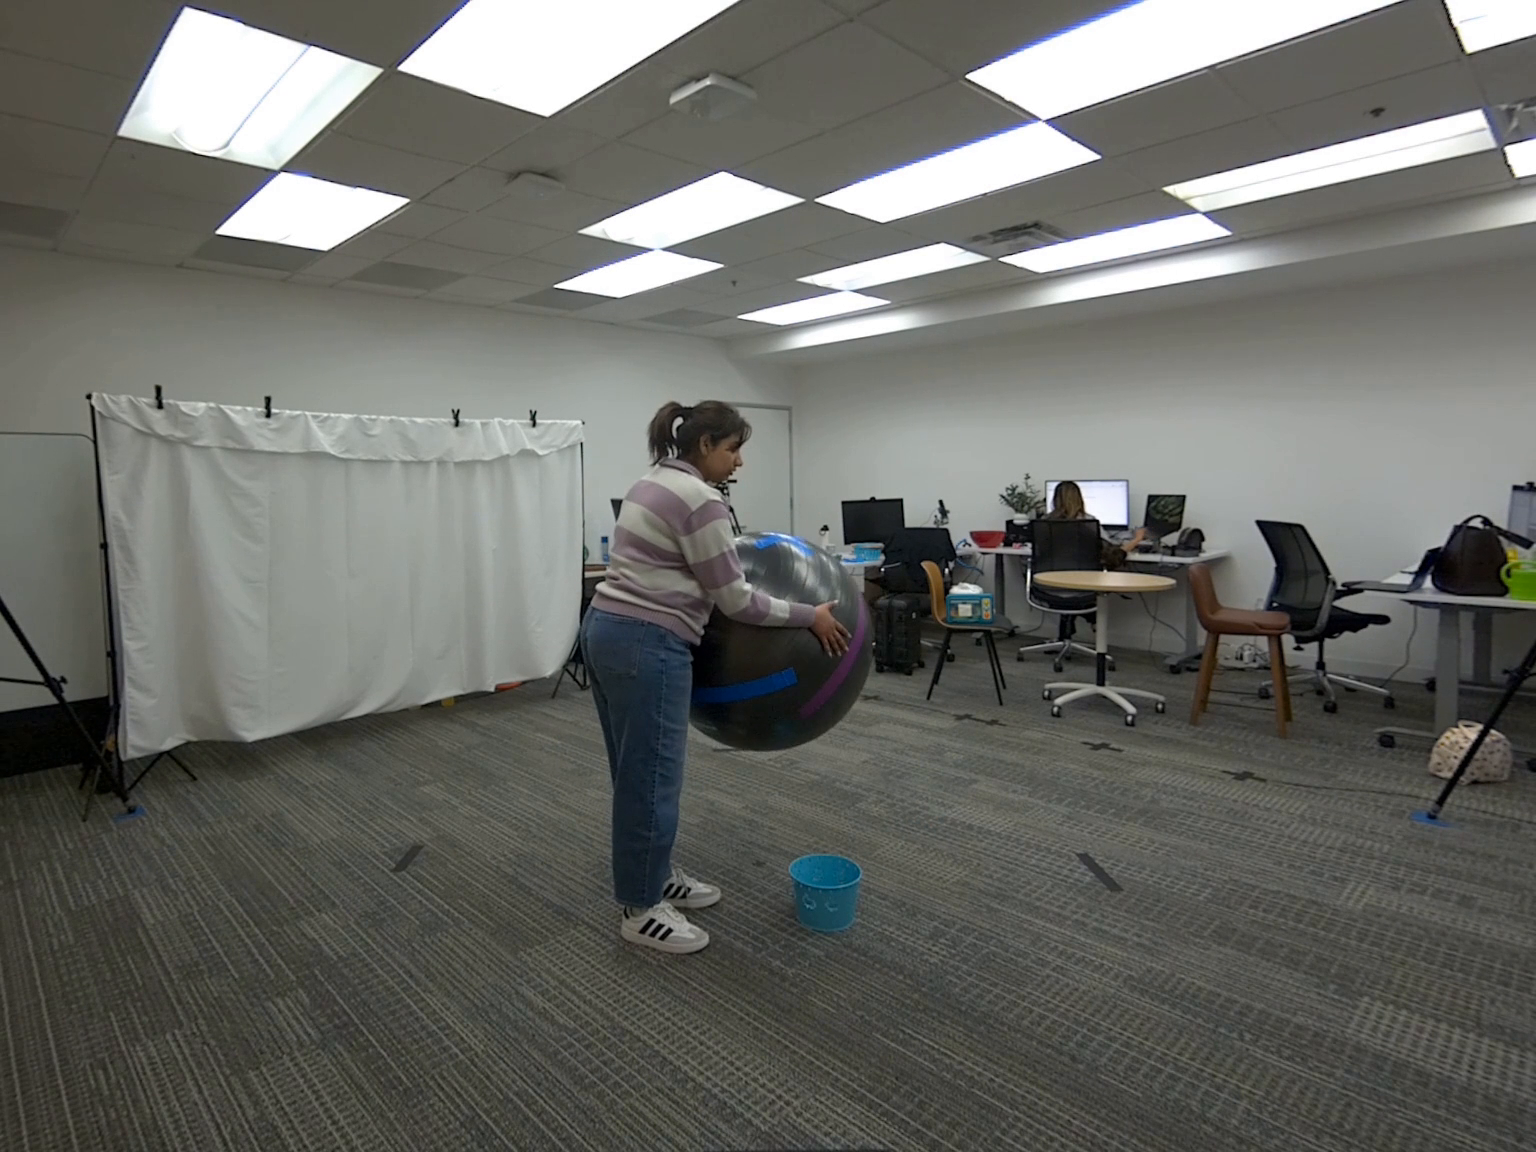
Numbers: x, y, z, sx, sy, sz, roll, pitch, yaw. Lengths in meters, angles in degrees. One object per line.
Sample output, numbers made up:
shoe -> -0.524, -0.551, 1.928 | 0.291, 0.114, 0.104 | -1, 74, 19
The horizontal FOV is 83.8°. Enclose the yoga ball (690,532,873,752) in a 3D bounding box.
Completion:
yoga ball -> -0.010, 0.236, 2.975 | 0.757, 0.755, 0.762 | -1, 5, -2
